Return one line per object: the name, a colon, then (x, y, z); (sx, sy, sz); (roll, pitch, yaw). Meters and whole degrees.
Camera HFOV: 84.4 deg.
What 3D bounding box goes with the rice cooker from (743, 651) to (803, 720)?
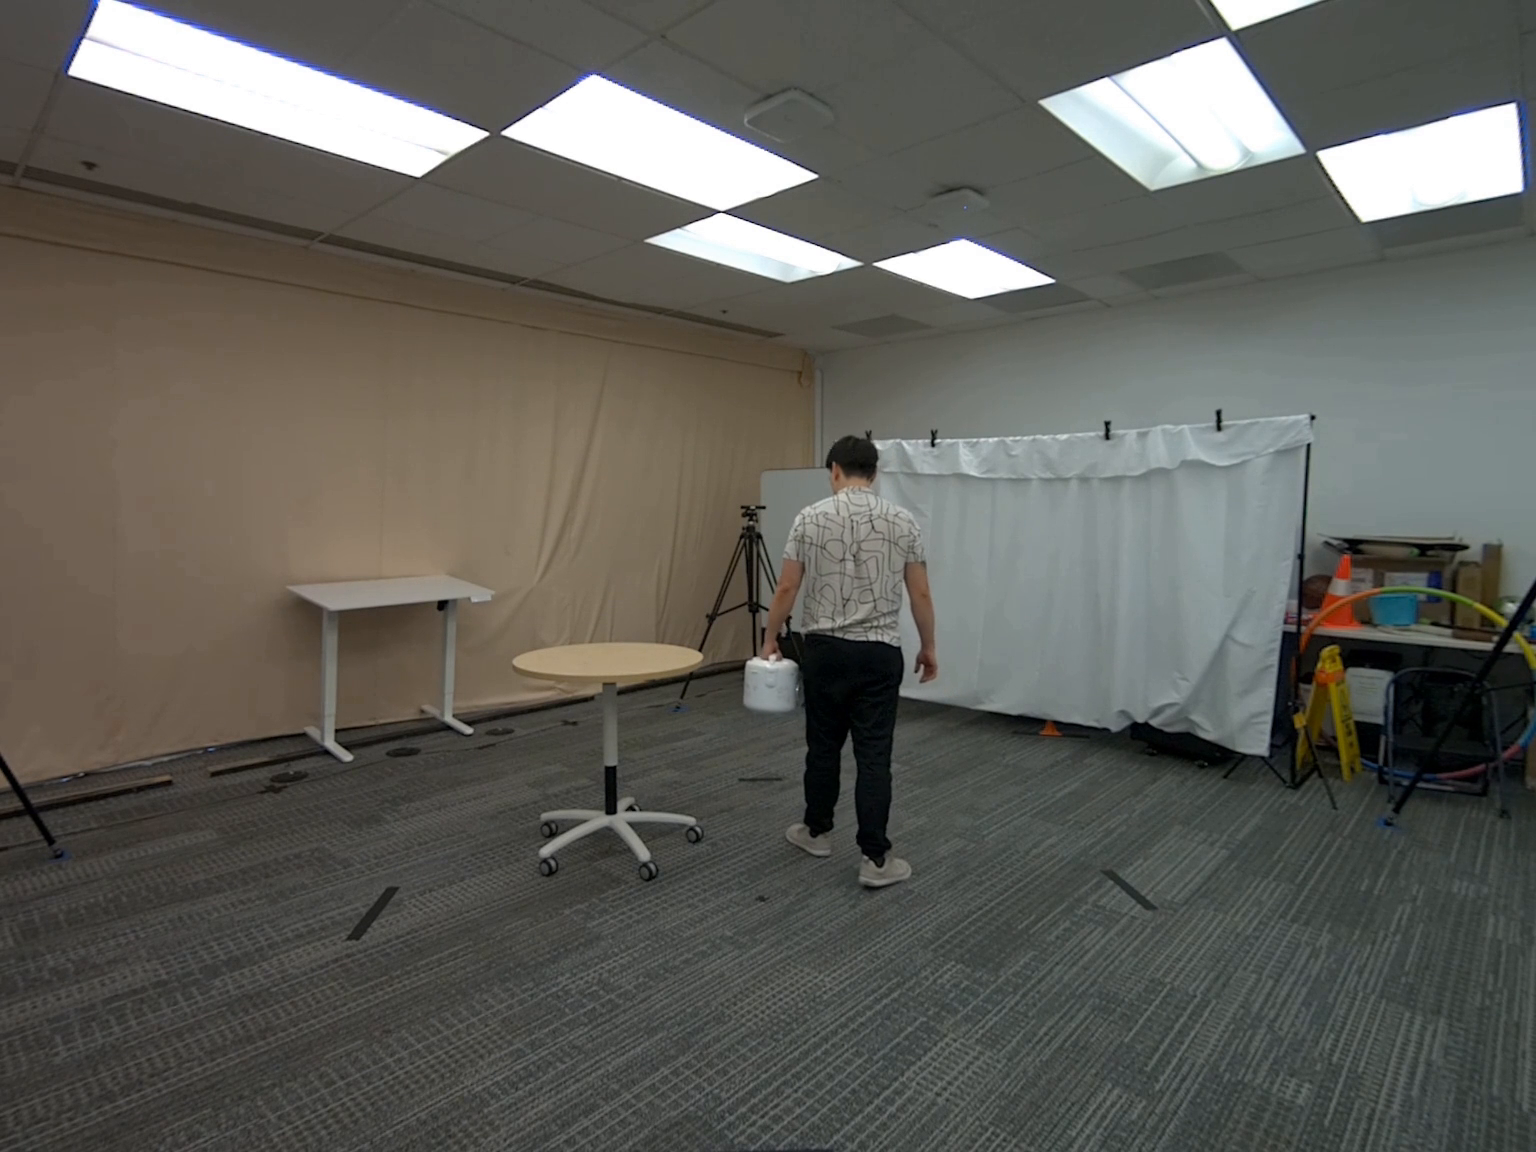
rice cooker: (0.025, 0.424, 3.336); (0.219, 0.233, 0.219); (2, -2, 5)
